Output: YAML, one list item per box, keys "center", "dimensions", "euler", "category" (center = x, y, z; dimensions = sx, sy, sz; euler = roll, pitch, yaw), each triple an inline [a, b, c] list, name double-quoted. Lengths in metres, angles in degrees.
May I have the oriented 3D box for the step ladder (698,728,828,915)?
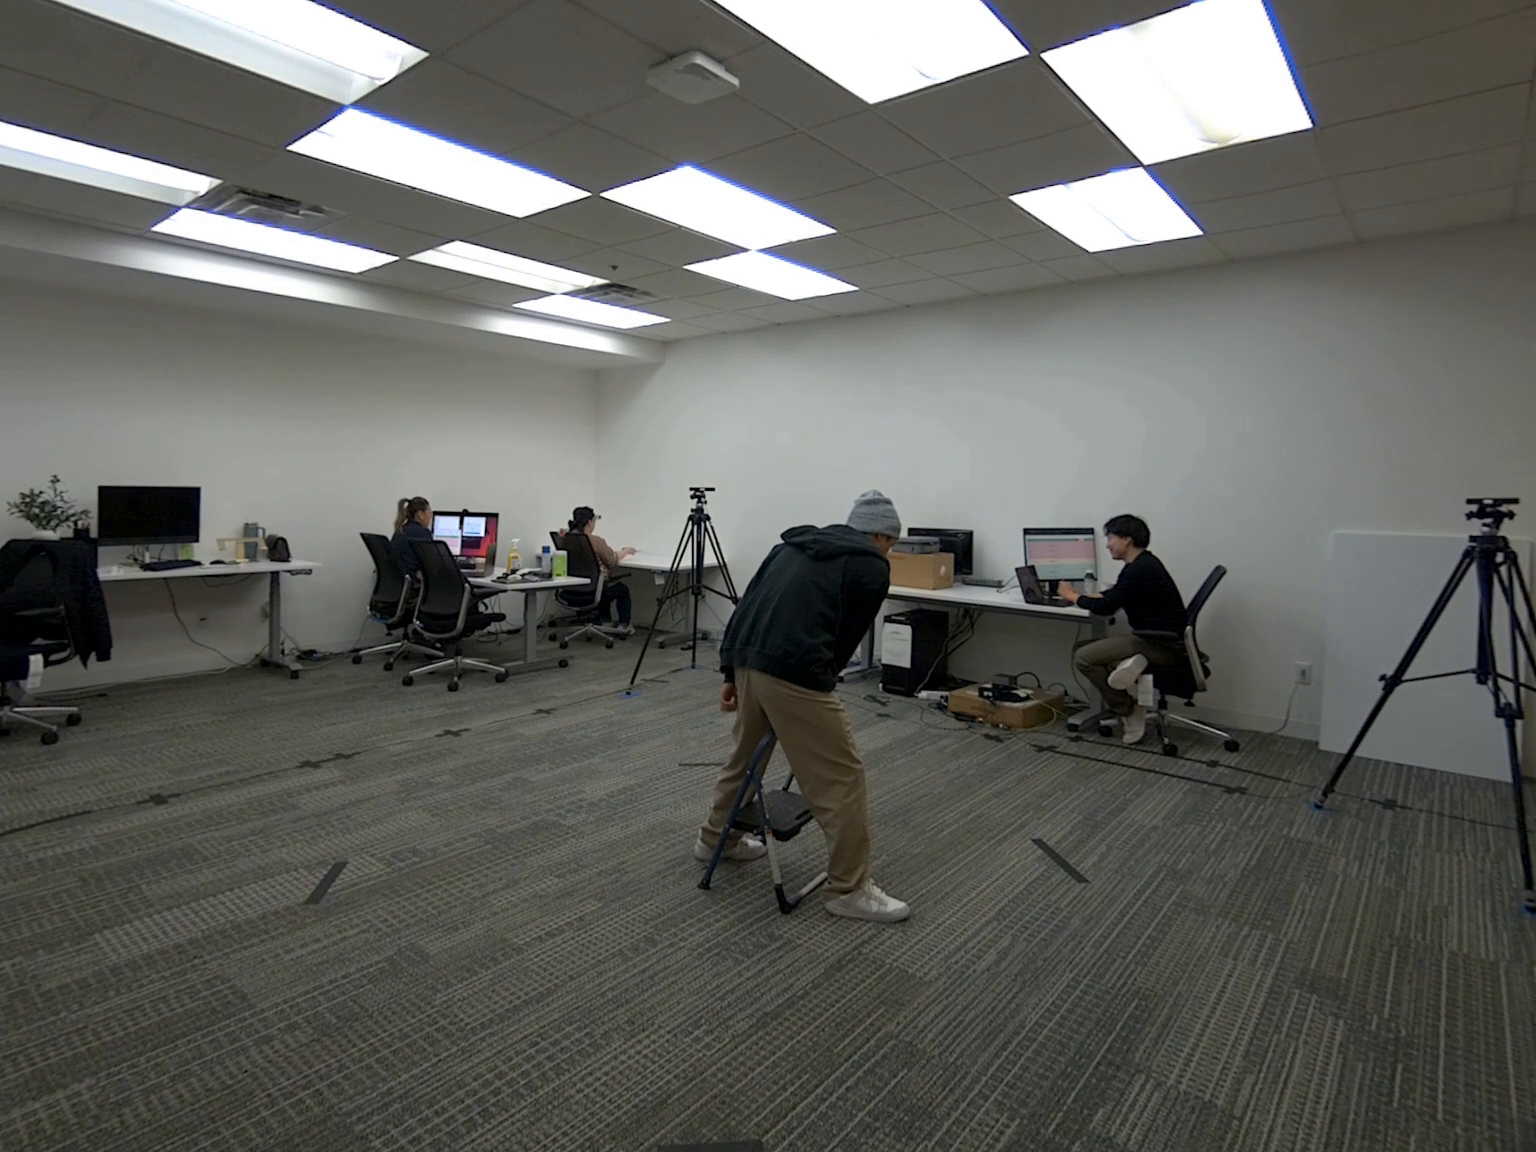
- center: [0.012, 0.776, 3.024]
  dimensions: [0.360, 0.604, 0.419]
  euler: [4, 4, 30]
  category: "step ladder"
